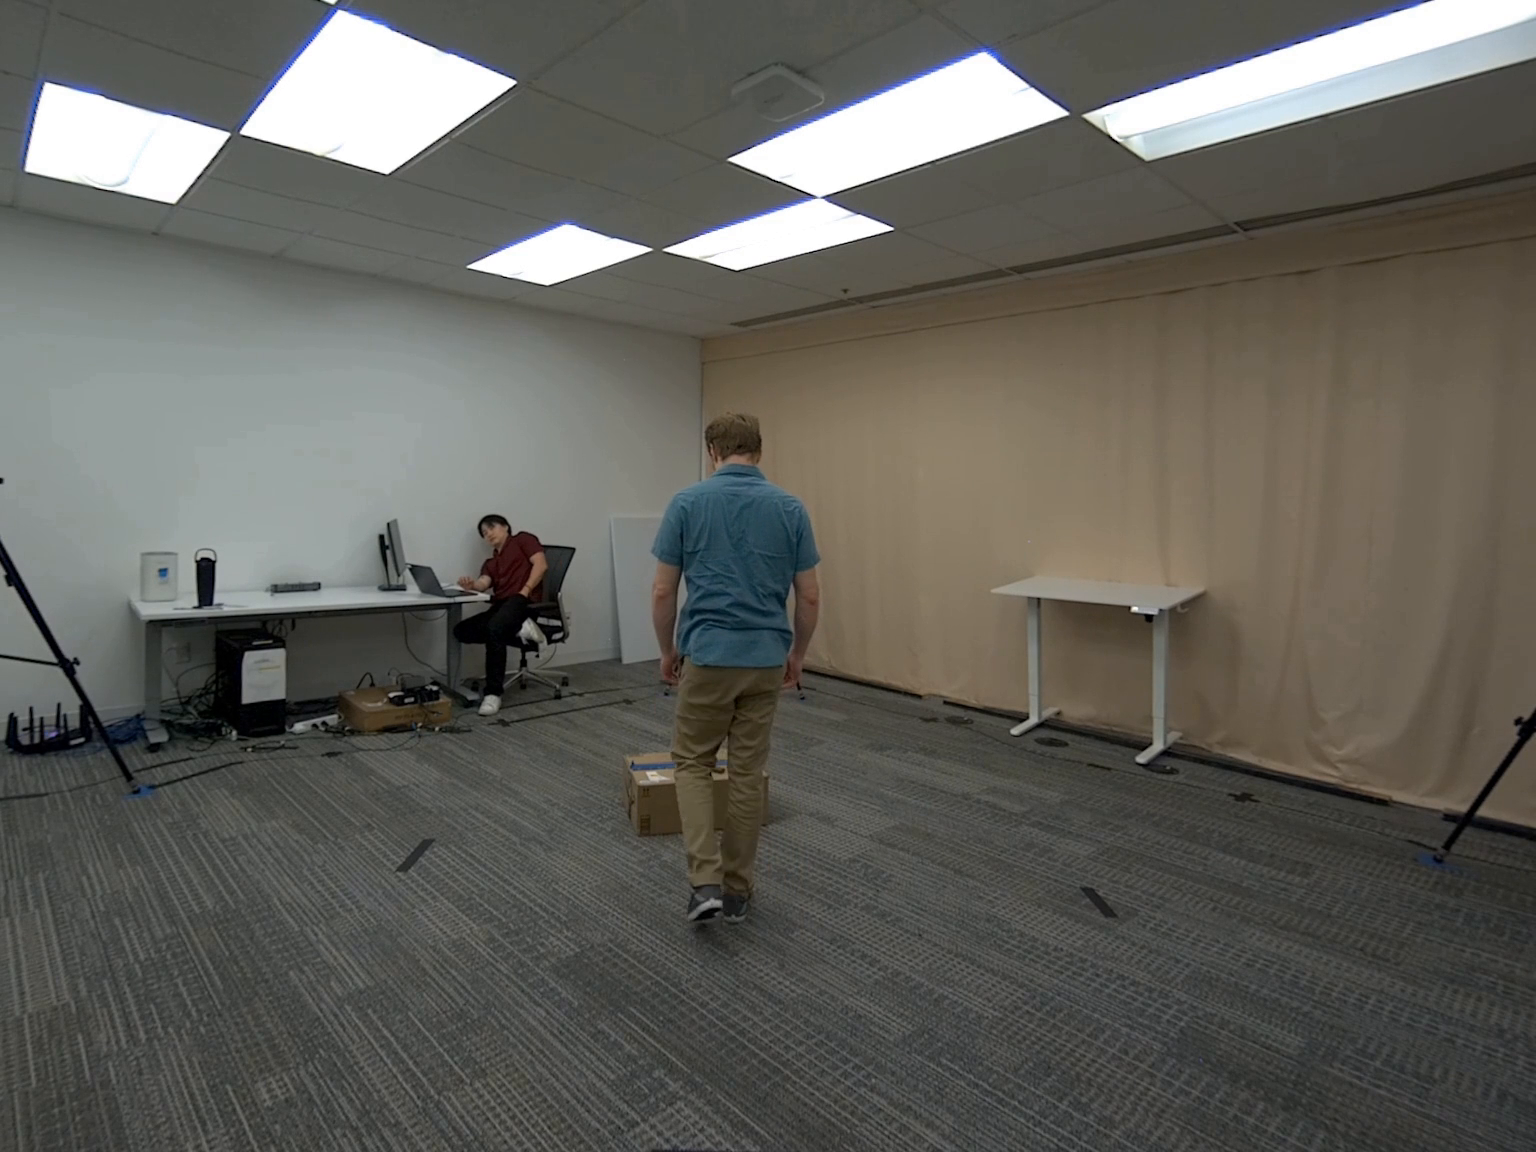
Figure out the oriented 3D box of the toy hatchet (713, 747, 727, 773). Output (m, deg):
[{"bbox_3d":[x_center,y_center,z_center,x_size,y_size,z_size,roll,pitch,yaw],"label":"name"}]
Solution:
[{"bbox_3d":[-0.277,0.819,3.718,0.277,0.029,0.128,9,2,37],"label":"toy hatchet"}]
